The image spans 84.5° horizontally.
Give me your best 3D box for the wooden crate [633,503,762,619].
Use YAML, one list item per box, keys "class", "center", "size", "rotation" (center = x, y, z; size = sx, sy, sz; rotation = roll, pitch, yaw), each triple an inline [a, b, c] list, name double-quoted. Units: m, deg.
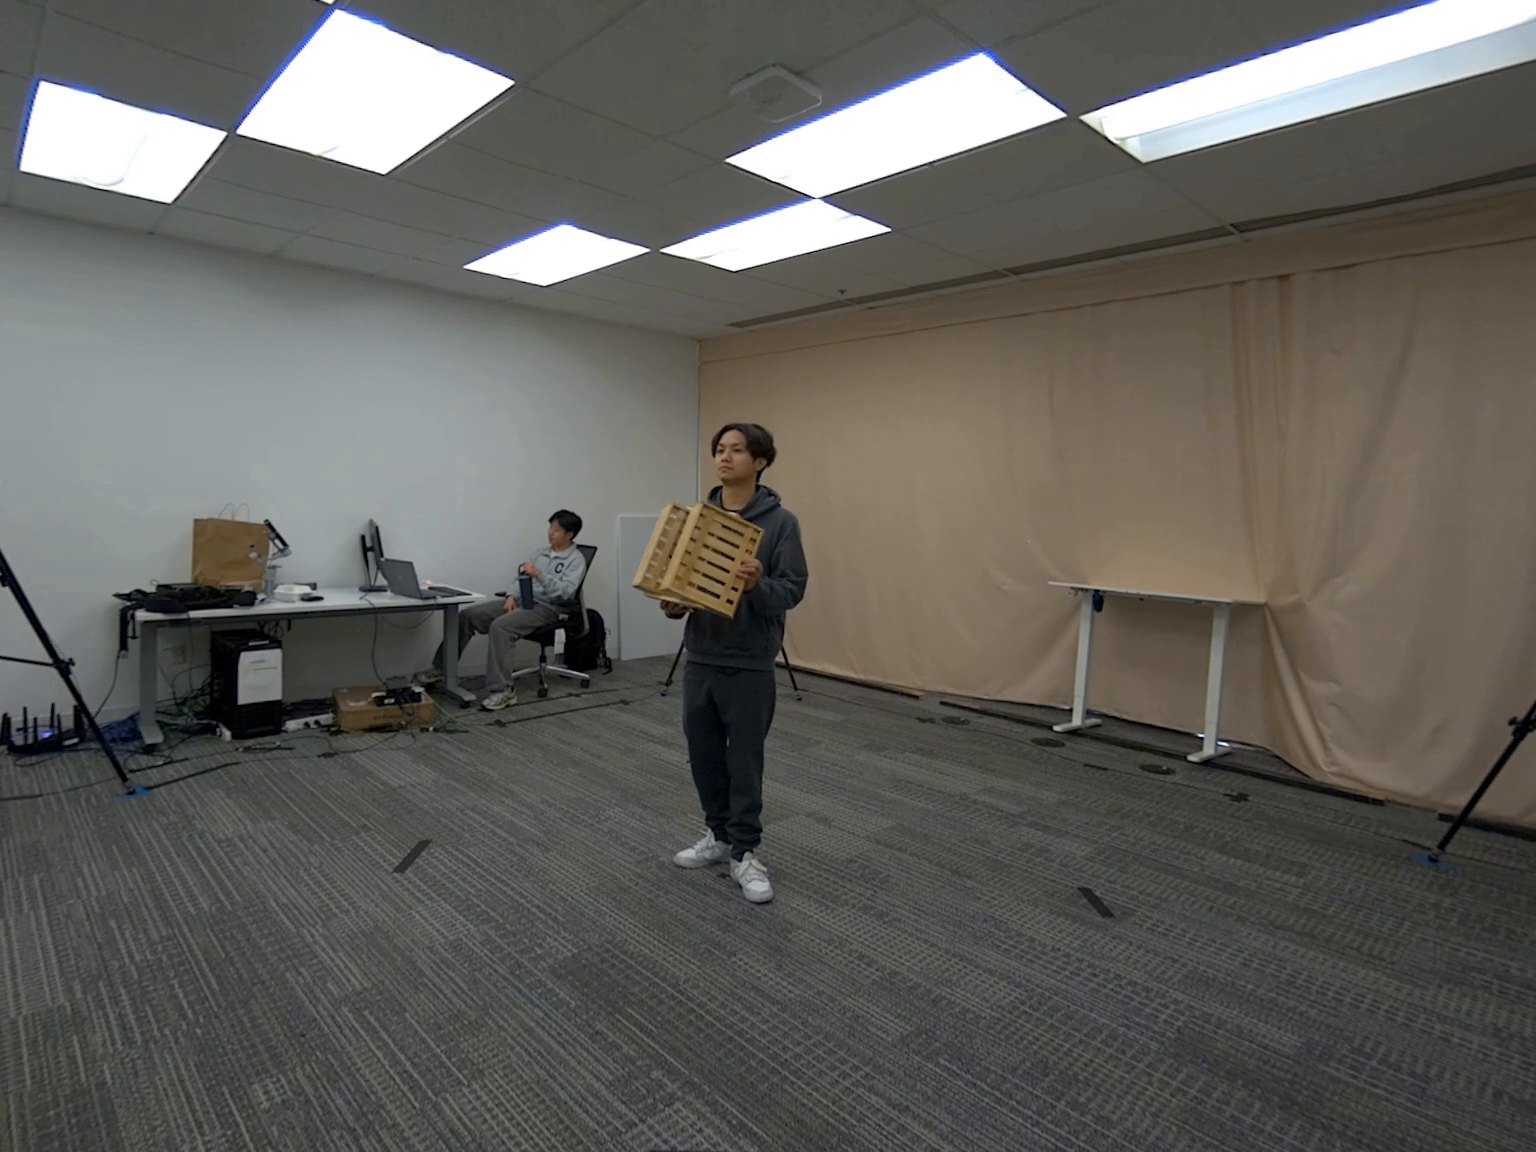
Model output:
- class: "wooden crate"
  center: [-0.241, -0.053, 2.758]
  size: [0.297, 0.326, 0.277]
  rotation: [25, -13, -18]
